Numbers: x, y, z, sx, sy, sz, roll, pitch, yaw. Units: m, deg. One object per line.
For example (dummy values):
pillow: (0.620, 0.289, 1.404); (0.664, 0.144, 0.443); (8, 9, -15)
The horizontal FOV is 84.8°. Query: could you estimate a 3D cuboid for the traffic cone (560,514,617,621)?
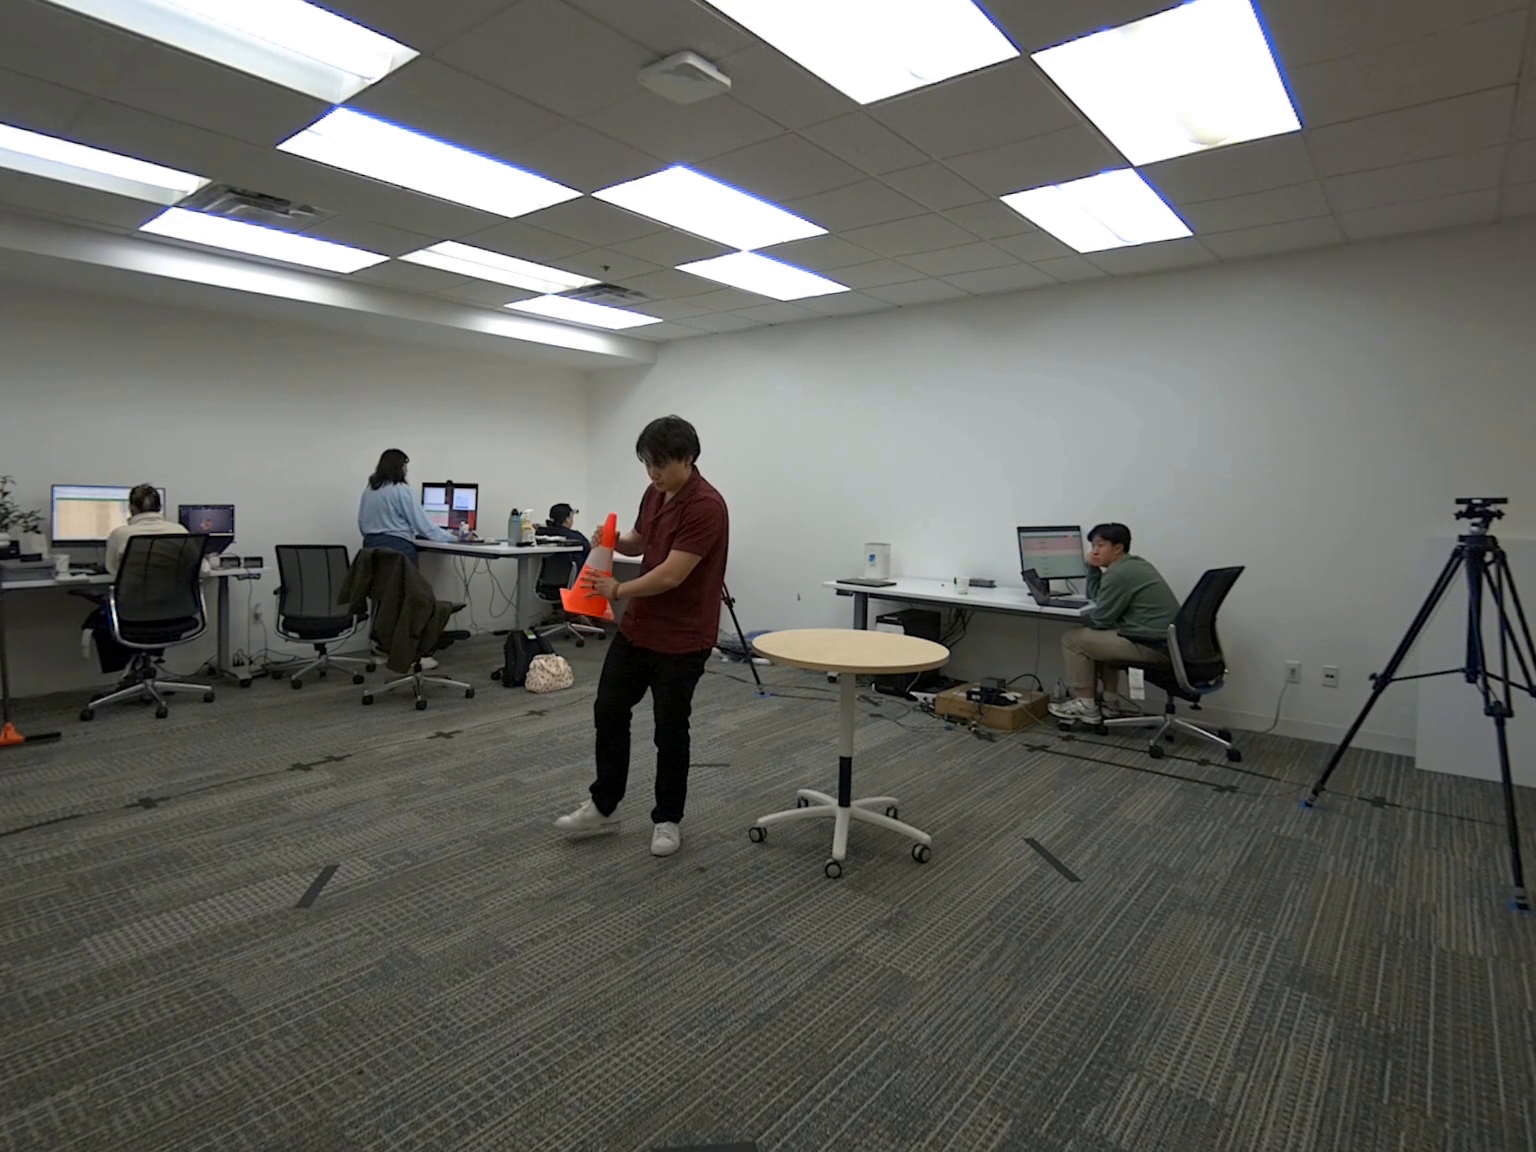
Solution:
traffic cone: (-0.651, -0.060, 3.254); (0.199, 0.380, 0.211); (12, 16, -26)
